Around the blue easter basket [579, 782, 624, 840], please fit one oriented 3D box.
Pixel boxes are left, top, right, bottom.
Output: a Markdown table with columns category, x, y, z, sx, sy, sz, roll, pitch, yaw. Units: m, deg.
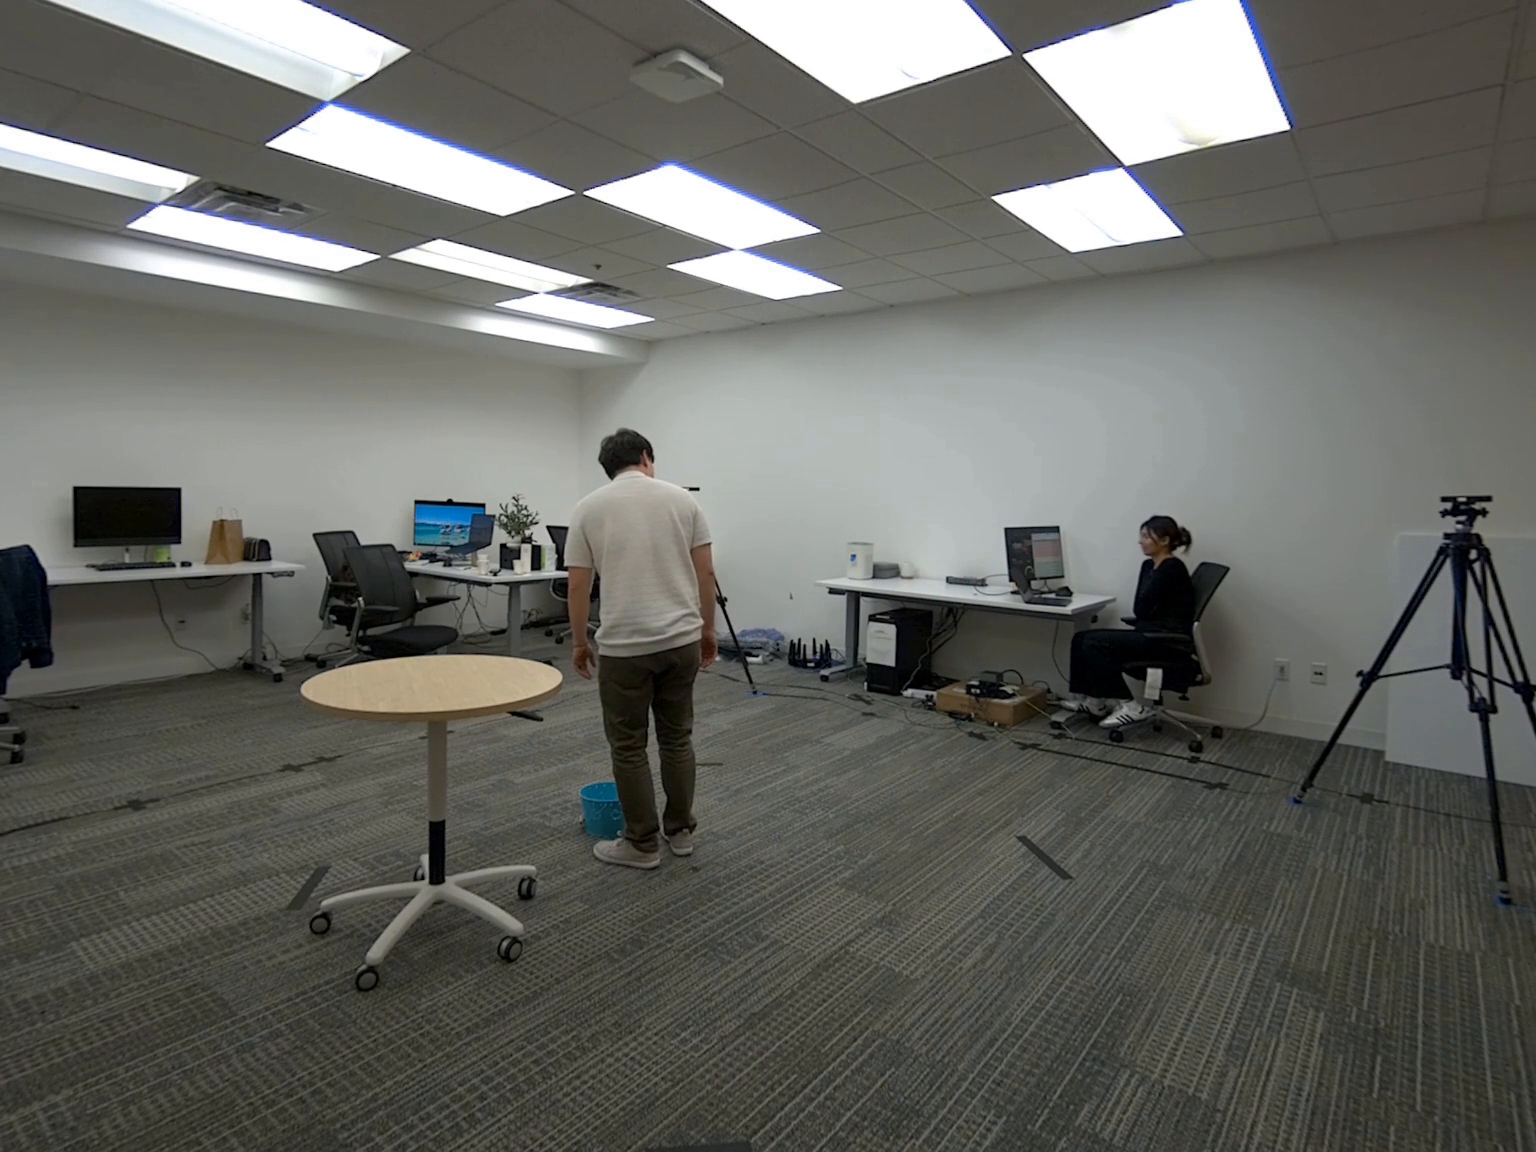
| category | x | y | z | sx | sy | sz | roll | pitch | yaw |
| --- | --- | --- | --- | --- | --- | --- | --- | --- | --- |
| blue easter basket | -0.667 | 0.944 | 3.462 | 0.243 | 0.155 | 0.245 | 1 | 4 | -2 |
